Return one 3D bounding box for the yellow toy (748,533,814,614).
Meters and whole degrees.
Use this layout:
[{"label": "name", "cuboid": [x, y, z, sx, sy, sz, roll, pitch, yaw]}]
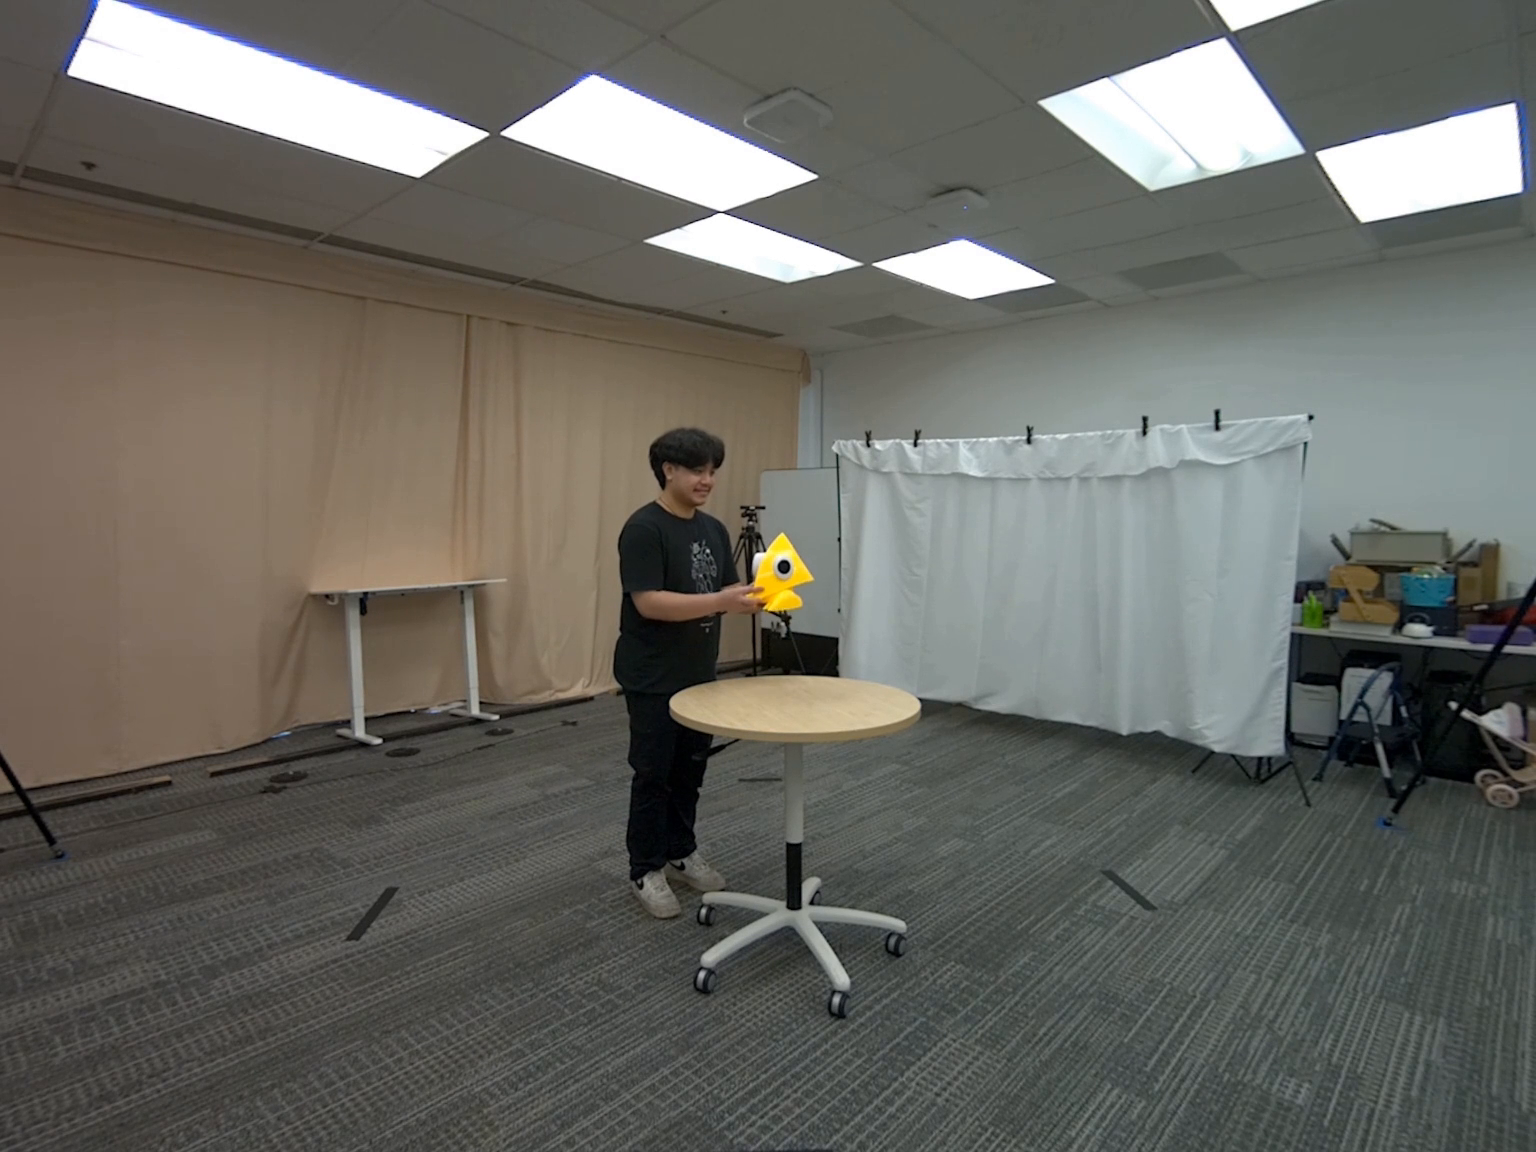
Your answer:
[{"label": "yellow toy", "cuboid": [0.015, -0.022, 2.736, 0.212, 0.229, 0.187, 5, 10, 42]}]
